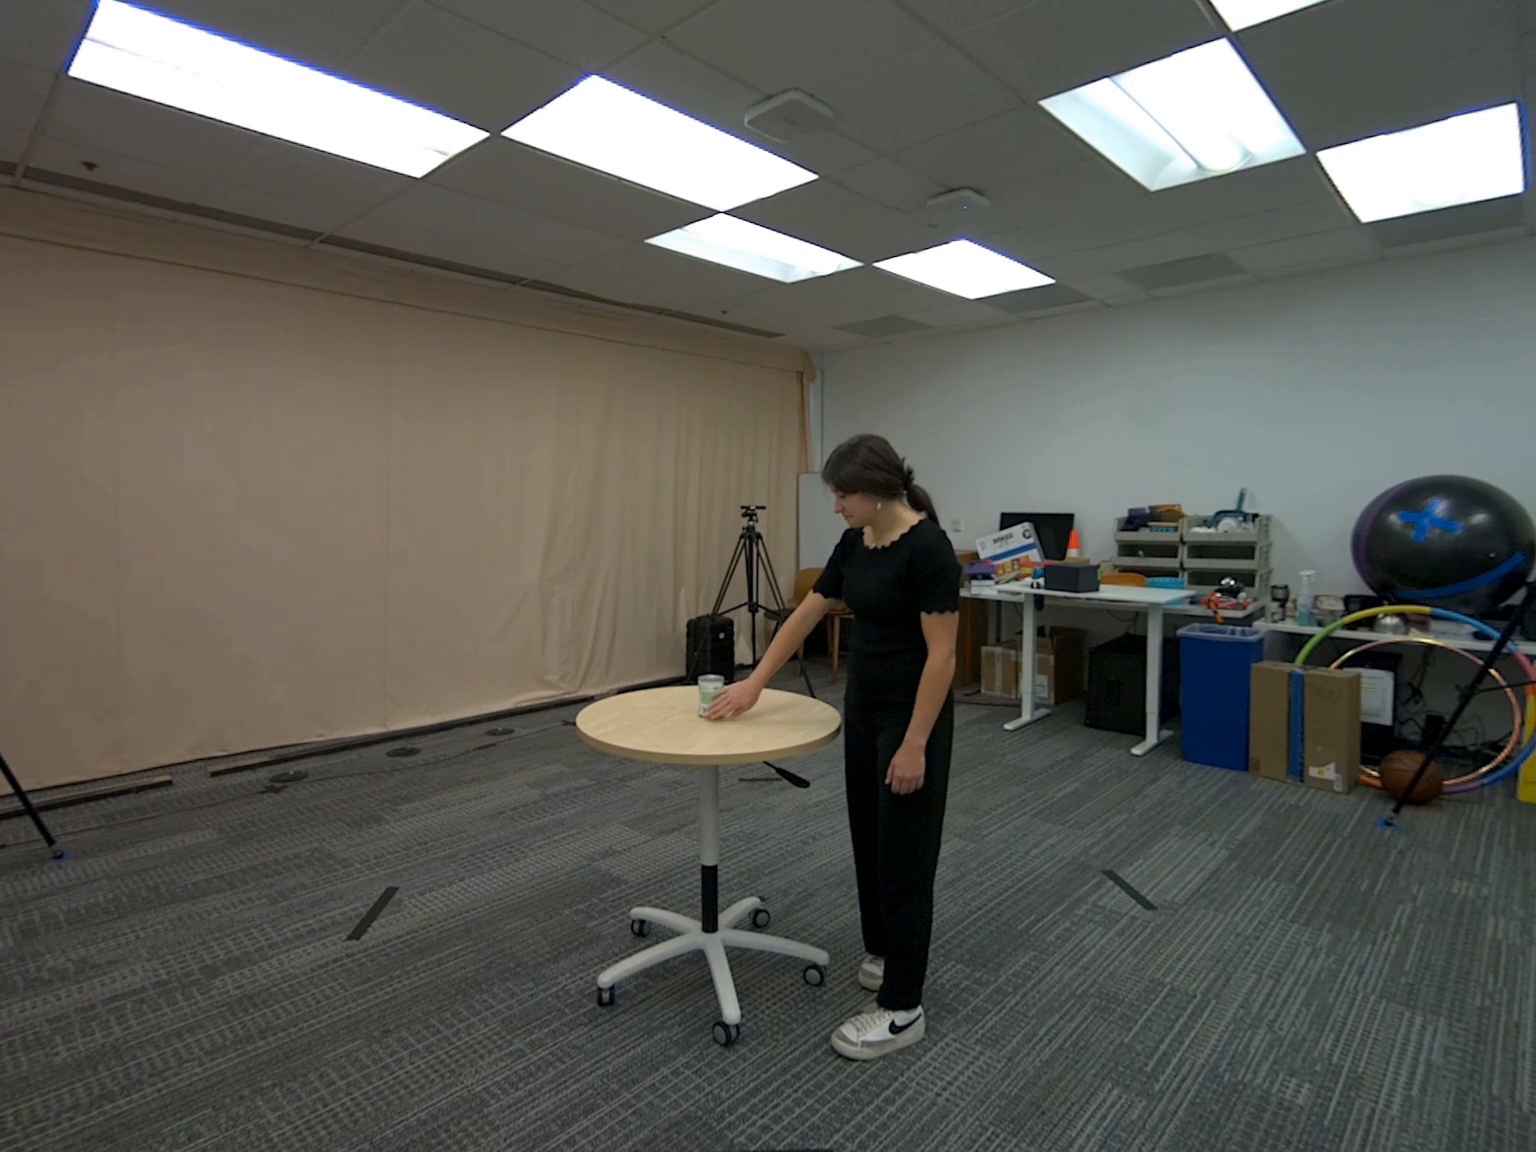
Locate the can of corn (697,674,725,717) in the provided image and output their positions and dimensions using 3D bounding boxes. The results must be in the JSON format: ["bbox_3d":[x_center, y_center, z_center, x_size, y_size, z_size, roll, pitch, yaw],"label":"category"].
[{"bbox_3d":[-0.161,0.352,2.436,0.074,0.111,0.074,-2,4,-2],"label":"can of corn"}]
